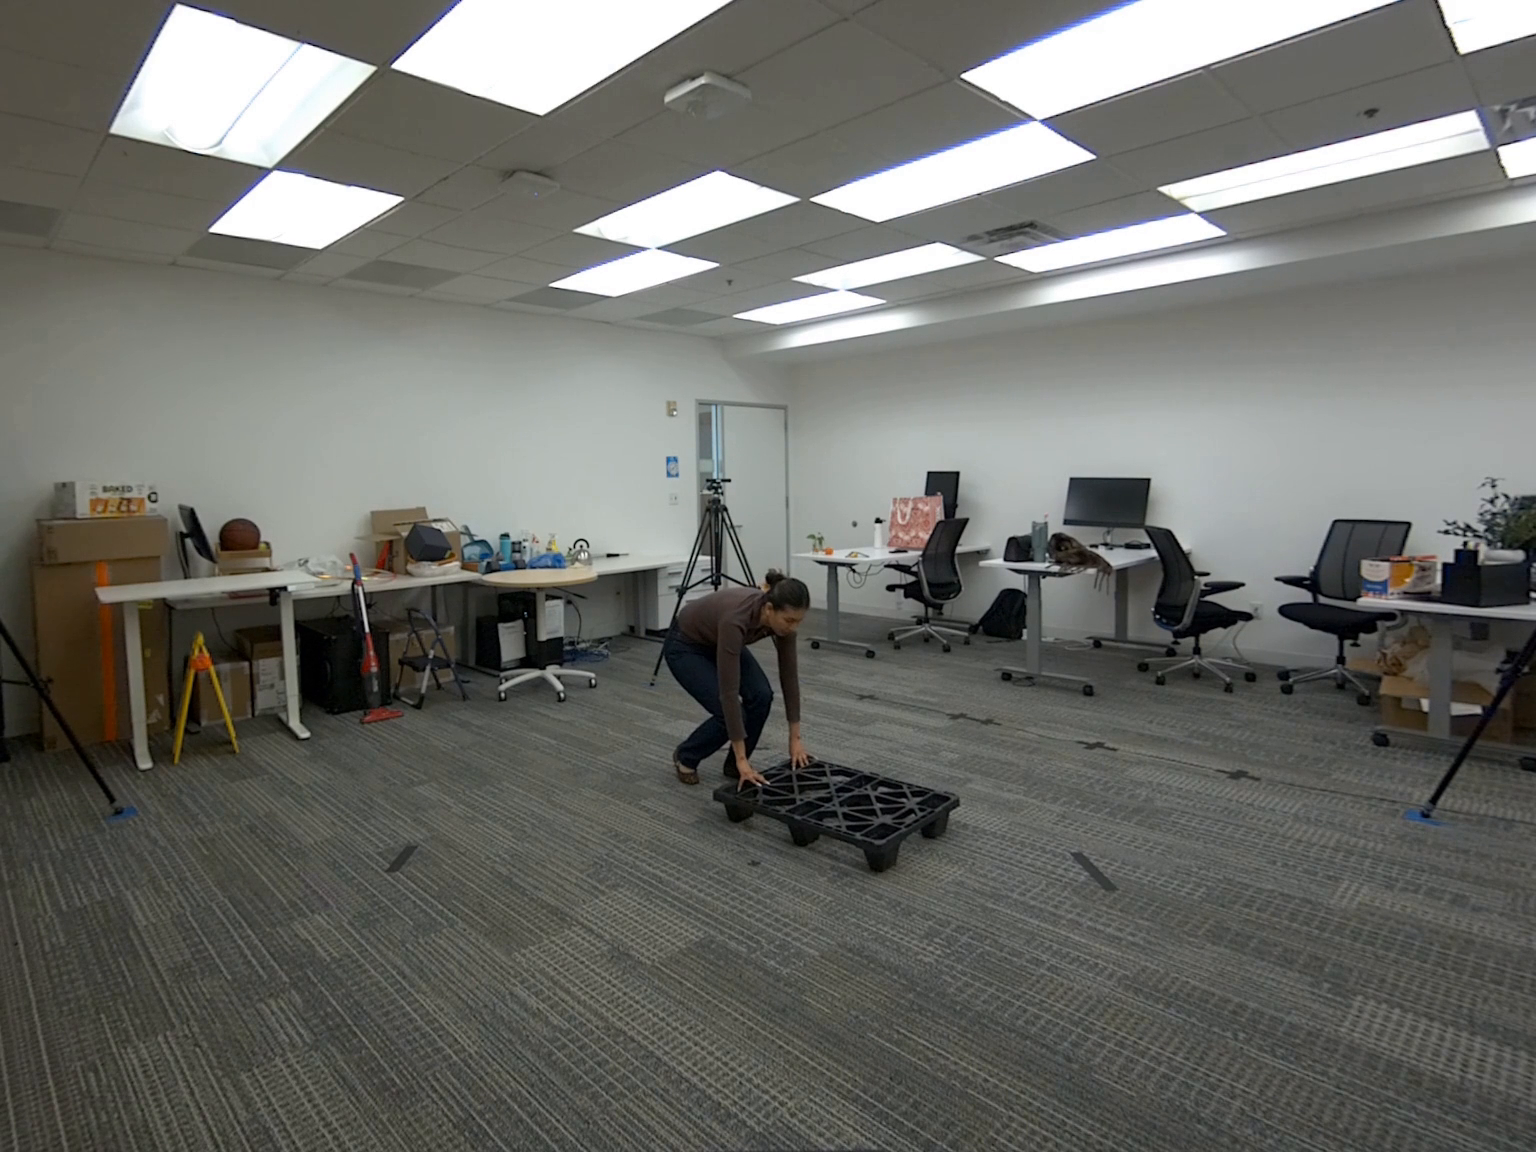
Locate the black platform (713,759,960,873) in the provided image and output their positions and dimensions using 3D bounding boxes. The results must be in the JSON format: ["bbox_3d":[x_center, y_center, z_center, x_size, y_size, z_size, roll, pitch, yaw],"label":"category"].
[{"bbox_3d":[0.268,0.936,3.425,0.830,0.143,0.589,5,8,40],"label":"black platform"}]
